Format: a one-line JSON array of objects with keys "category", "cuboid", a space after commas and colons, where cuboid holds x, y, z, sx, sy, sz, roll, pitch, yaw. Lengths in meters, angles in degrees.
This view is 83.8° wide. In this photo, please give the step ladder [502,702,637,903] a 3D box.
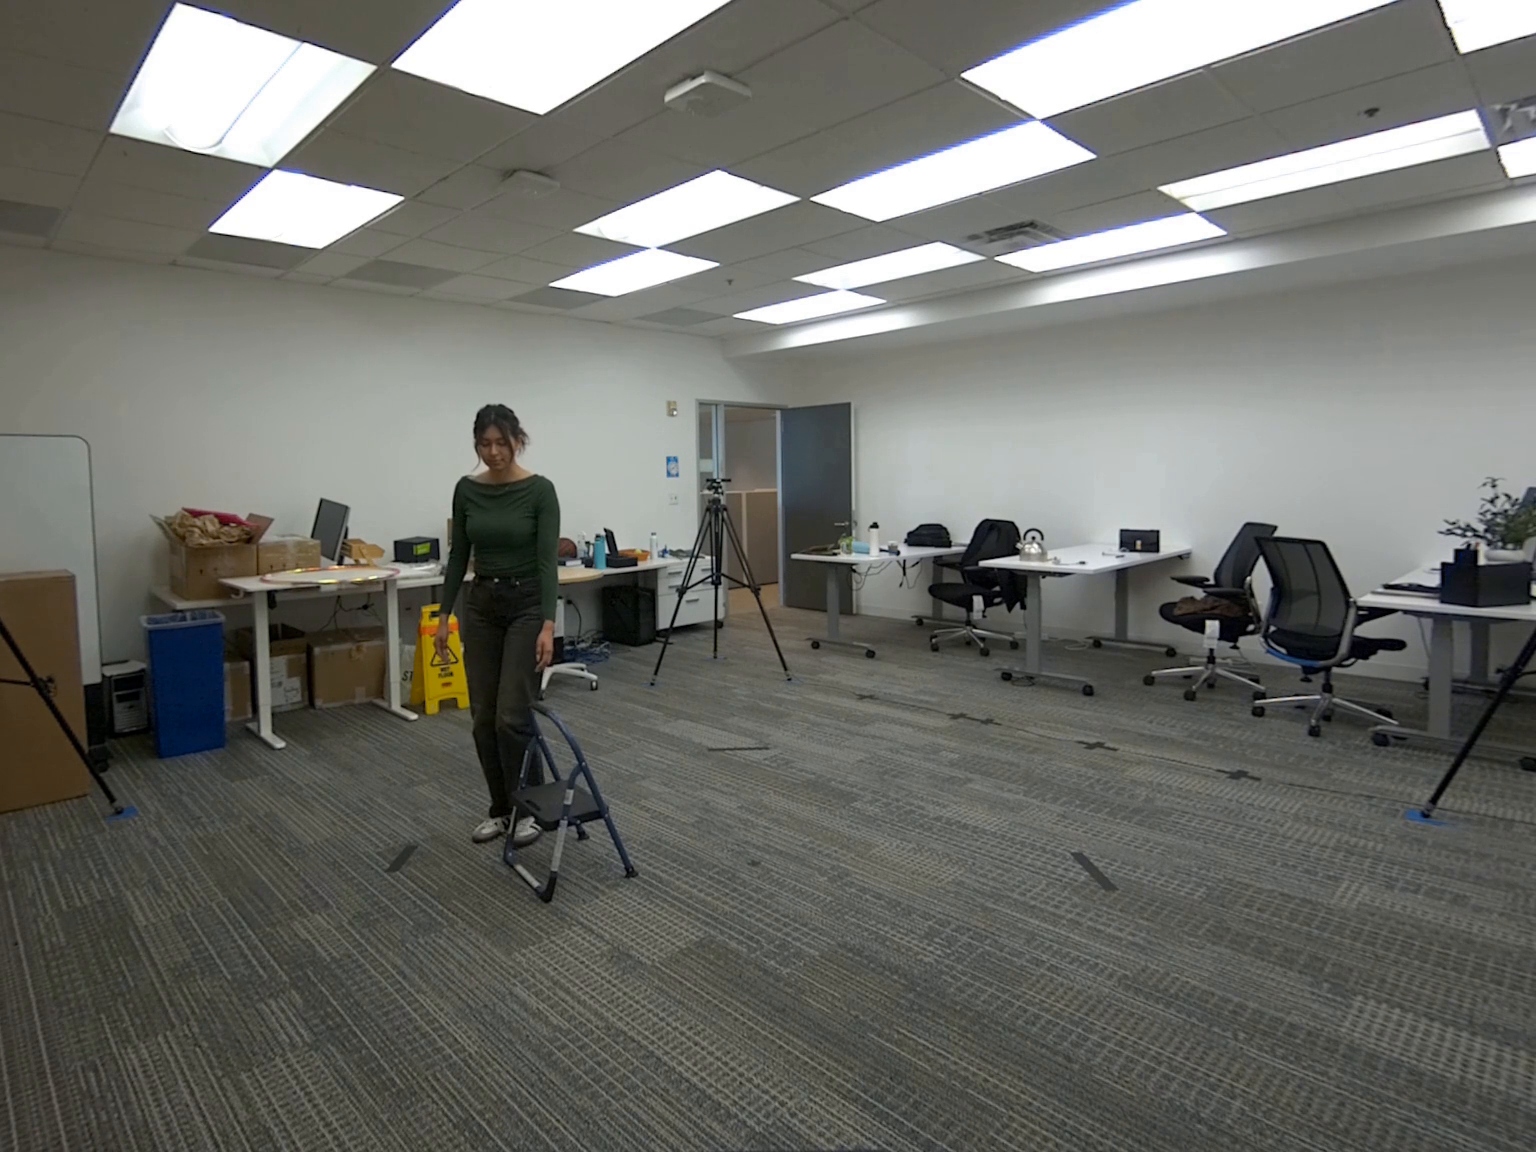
[{"category": "step ladder", "cuboid": [-0.730, 0.758, 3.080, 0.340, 0.604, 0.443, -4, 5, -36]}]
